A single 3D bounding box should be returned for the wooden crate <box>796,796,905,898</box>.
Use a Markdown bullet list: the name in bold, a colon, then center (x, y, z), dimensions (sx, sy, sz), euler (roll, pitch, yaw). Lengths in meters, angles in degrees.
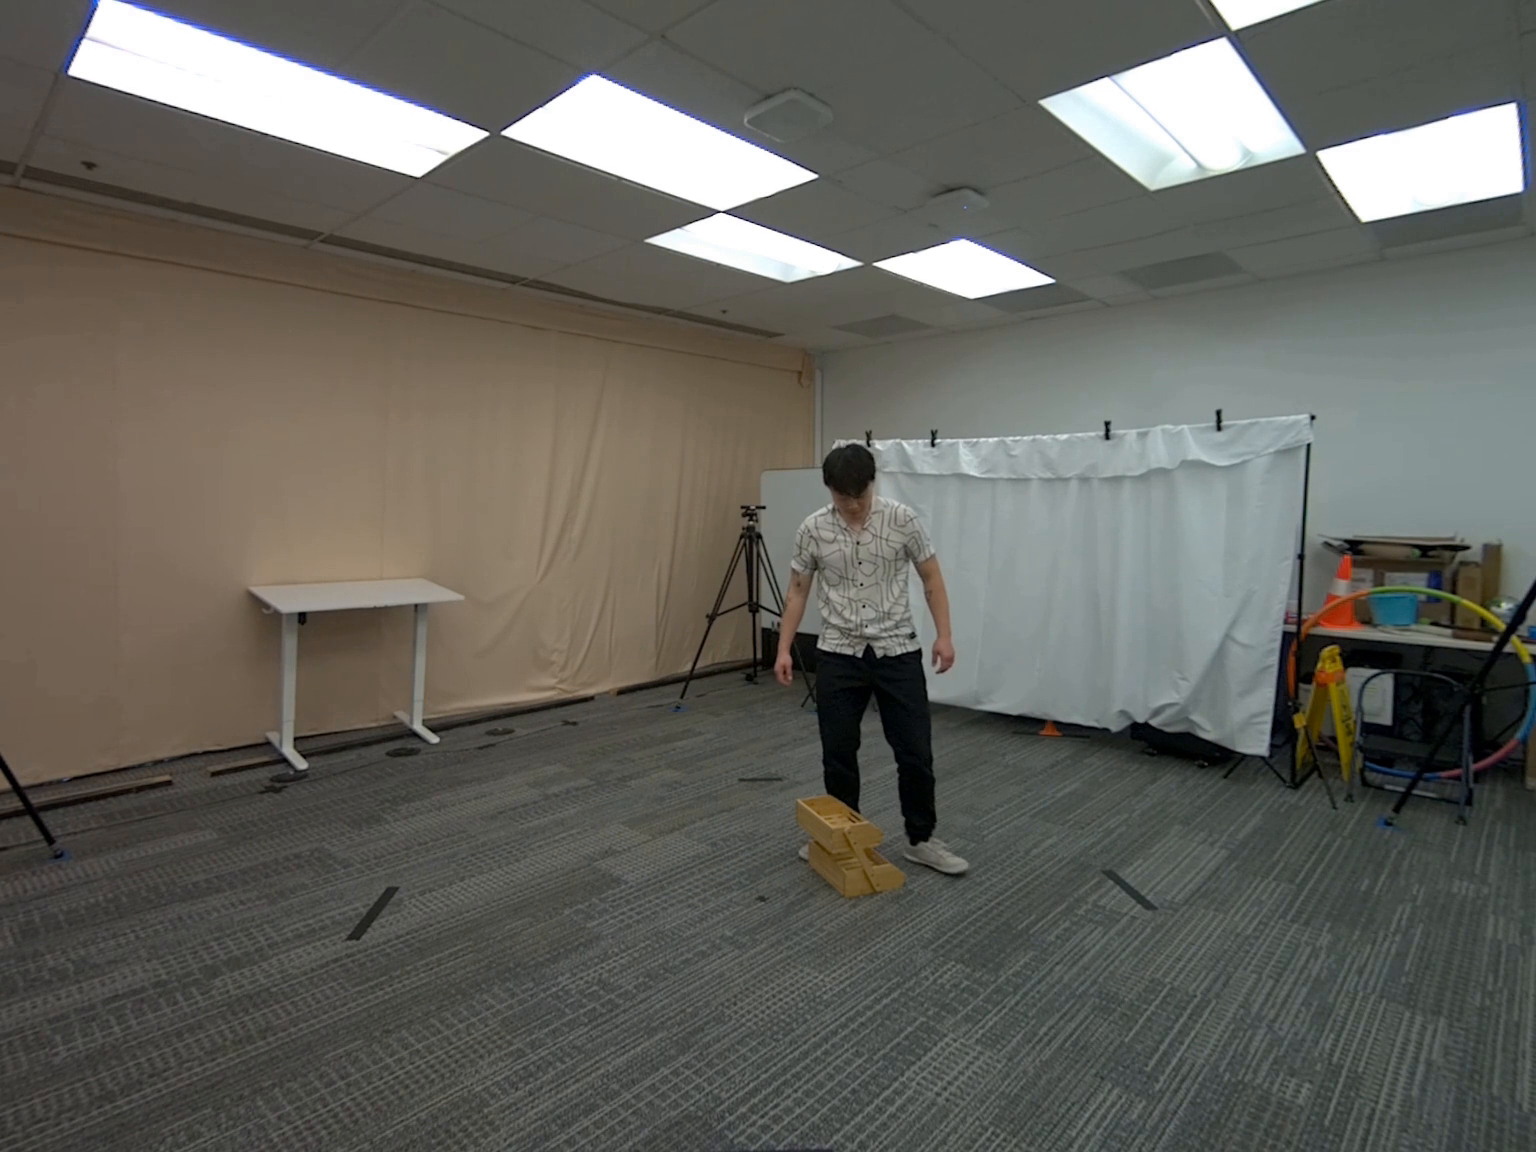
- **wooden crate**: center (0.315, 0.993, 3.154), dimensions (0.296, 0.273, 0.332), euler (-2, 4, -22)
